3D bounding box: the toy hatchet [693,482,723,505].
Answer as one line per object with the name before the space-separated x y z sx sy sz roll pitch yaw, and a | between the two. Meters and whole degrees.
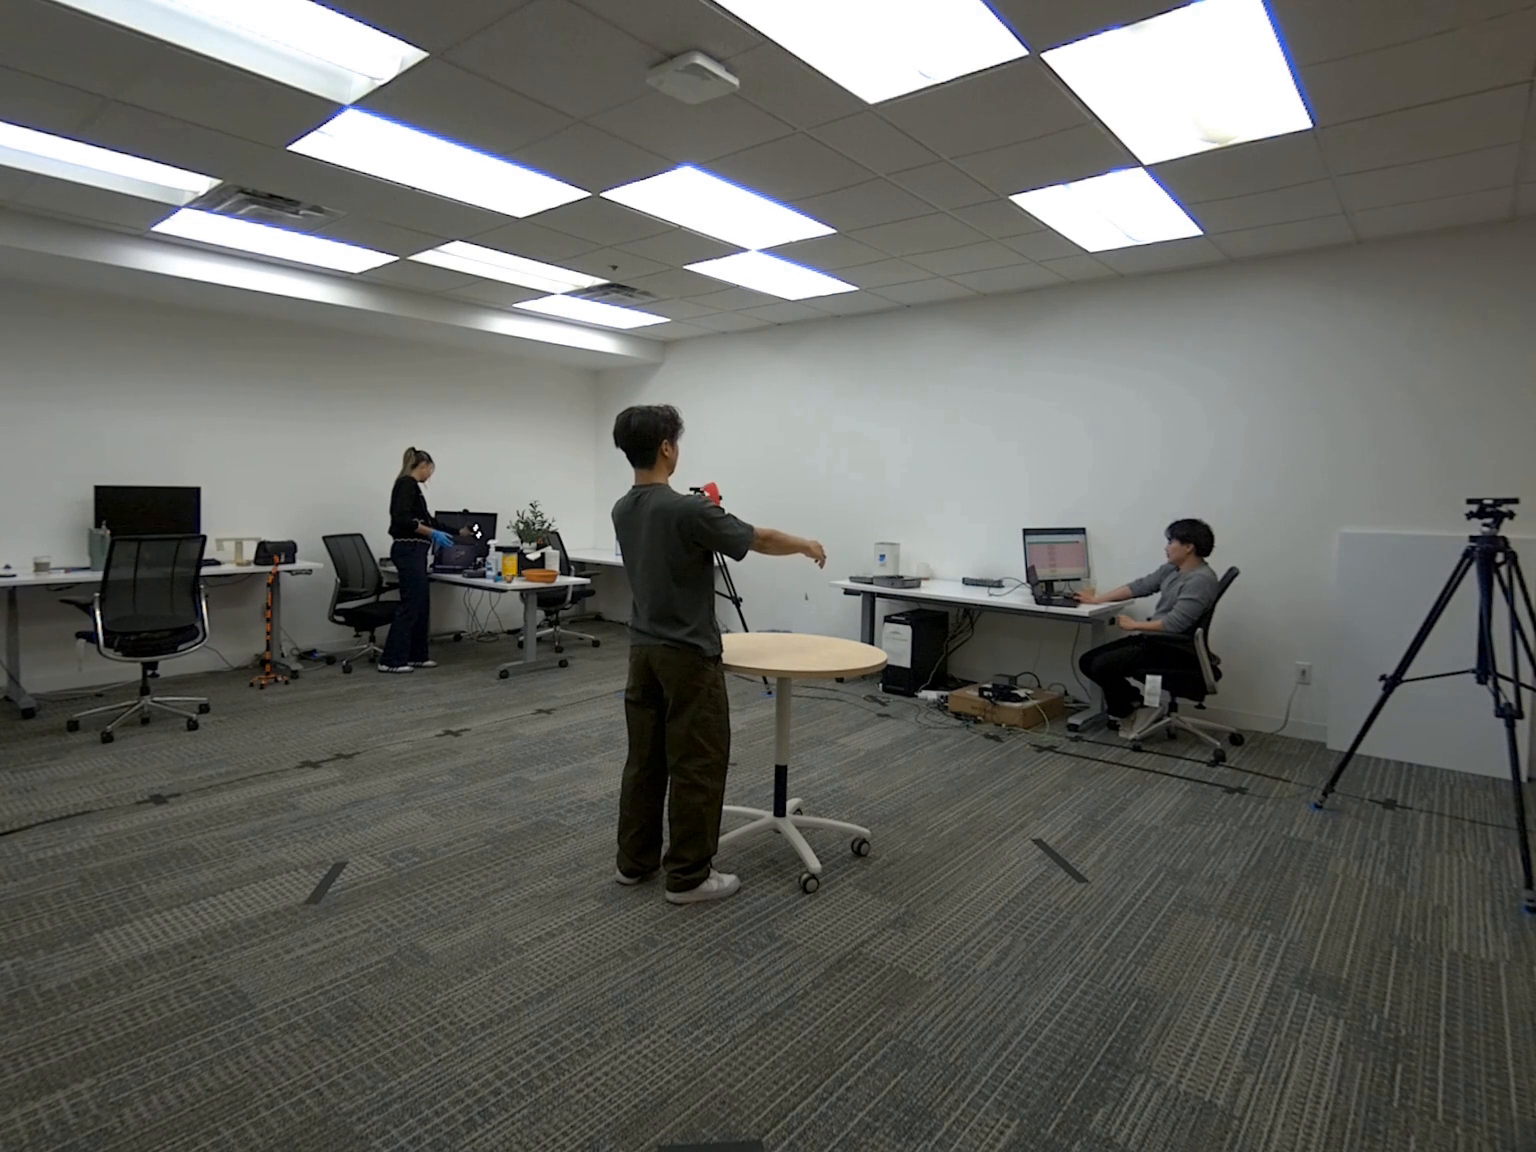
toy hatchet | -0.321 -0.350 3.529 0.276 0.130 0.029 15 10 16
